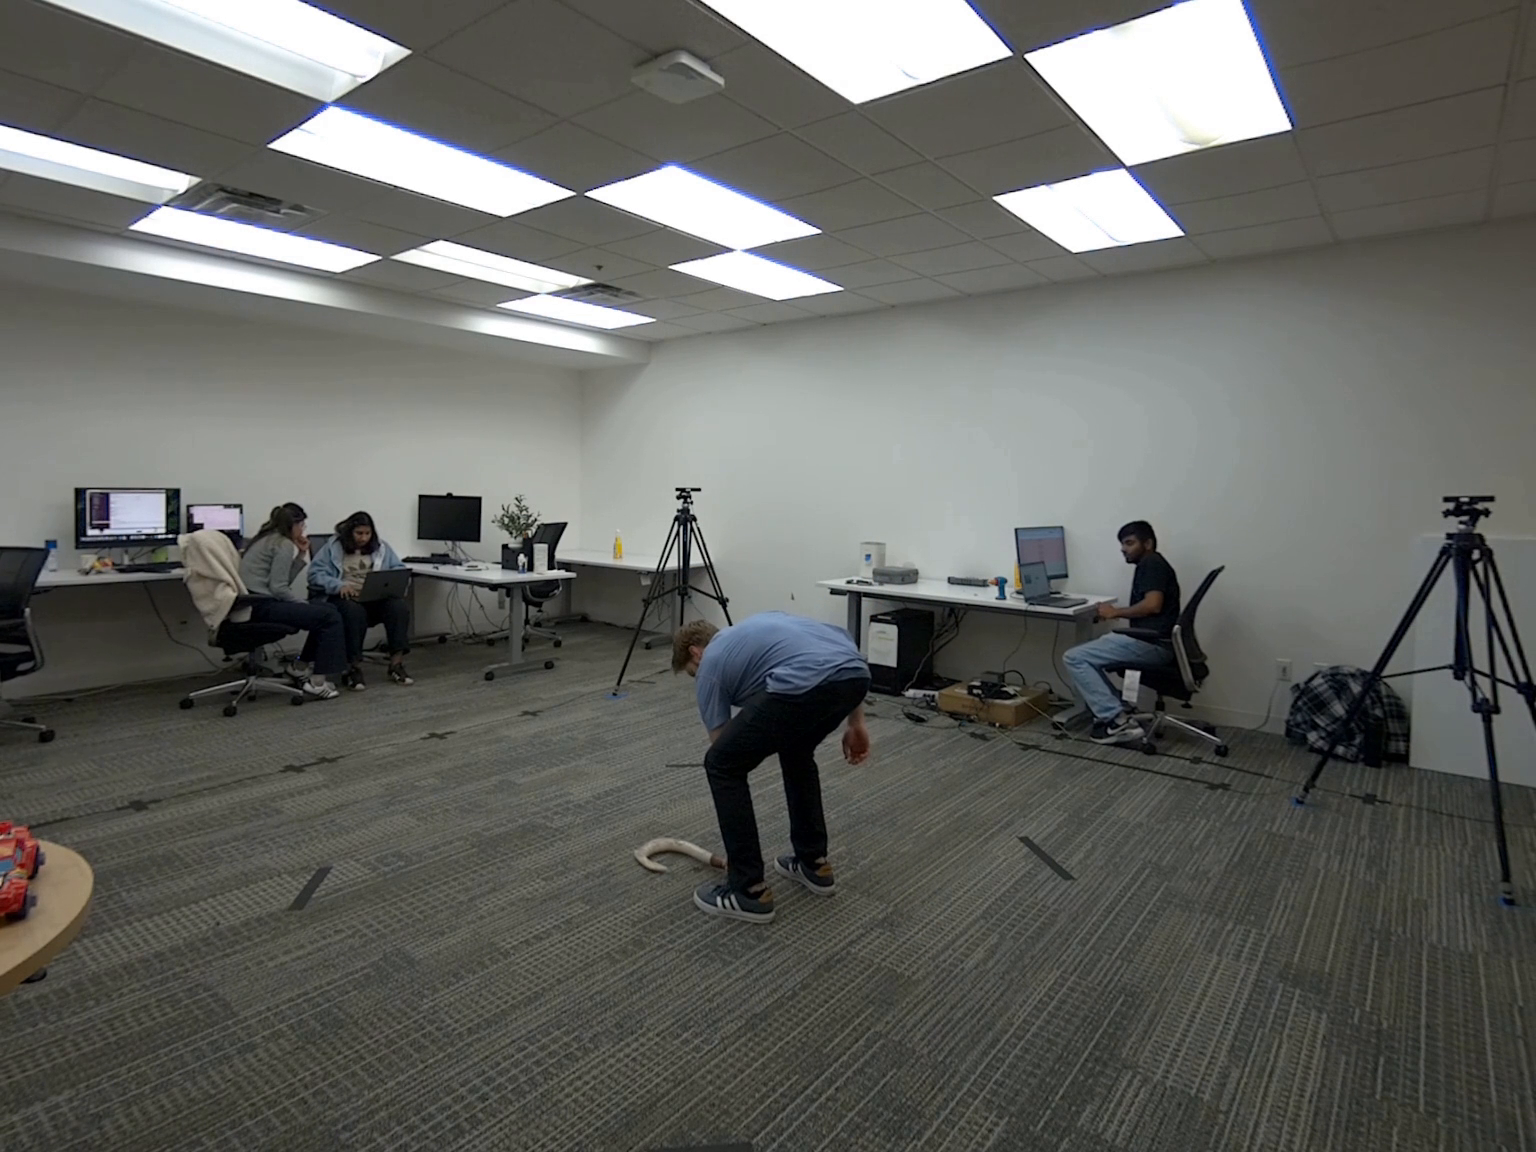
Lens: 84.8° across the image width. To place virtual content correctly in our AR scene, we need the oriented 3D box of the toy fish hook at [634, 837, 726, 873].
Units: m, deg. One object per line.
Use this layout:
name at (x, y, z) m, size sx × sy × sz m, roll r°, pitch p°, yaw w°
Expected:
toy fish hook at (-0.277, 1.042, 3.098) m, size 0.522 × 0.048 × 0.220 m, roll 0°, pitch 13°, yaw 35°
